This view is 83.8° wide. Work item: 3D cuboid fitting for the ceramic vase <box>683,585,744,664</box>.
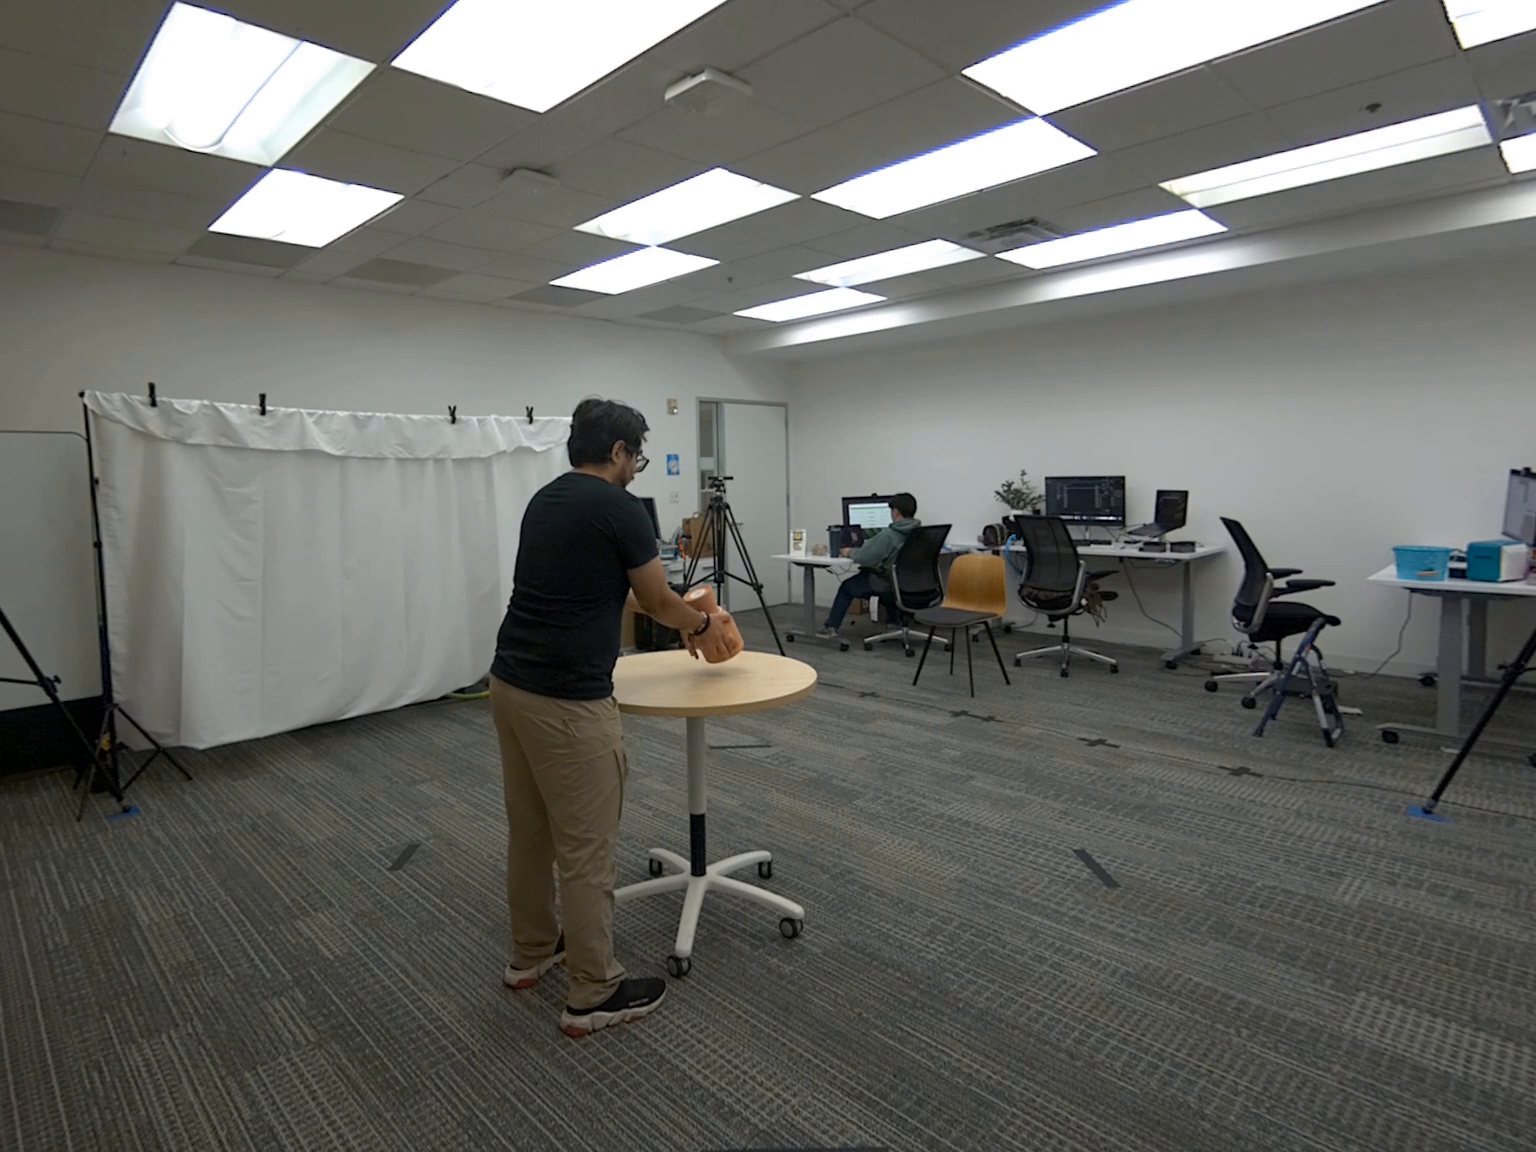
[{"bbox_3d":[-0.181,0.144,2.655,0.161,0.215,0.135,-16,20,22],"label":"ceramic vase"}]
